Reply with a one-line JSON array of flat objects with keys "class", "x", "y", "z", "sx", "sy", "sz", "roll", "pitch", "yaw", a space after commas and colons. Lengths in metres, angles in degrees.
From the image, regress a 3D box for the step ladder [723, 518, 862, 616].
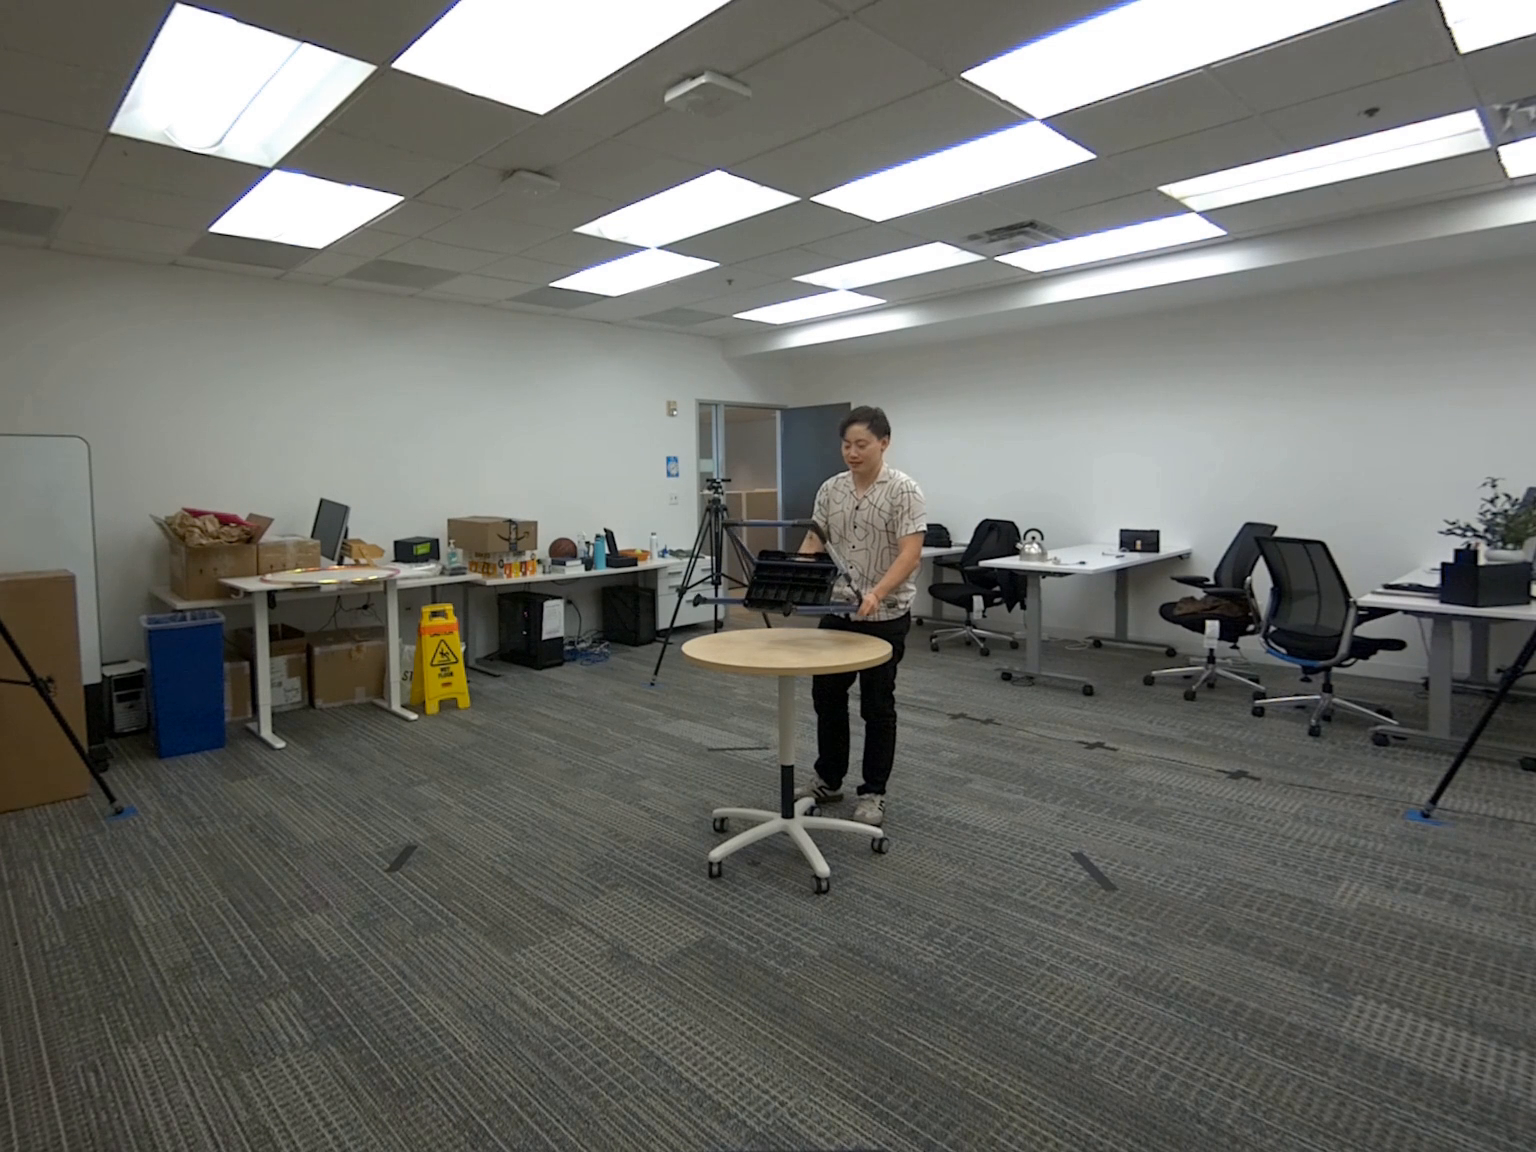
[{"class": "step ladder", "x": 0.105, "y": 0.072, "z": 3.169, "sx": 0.443, "sy": 0.353, "sz": 0.582, "roll": 4, "pitch": -22, "yaw": 38}]
